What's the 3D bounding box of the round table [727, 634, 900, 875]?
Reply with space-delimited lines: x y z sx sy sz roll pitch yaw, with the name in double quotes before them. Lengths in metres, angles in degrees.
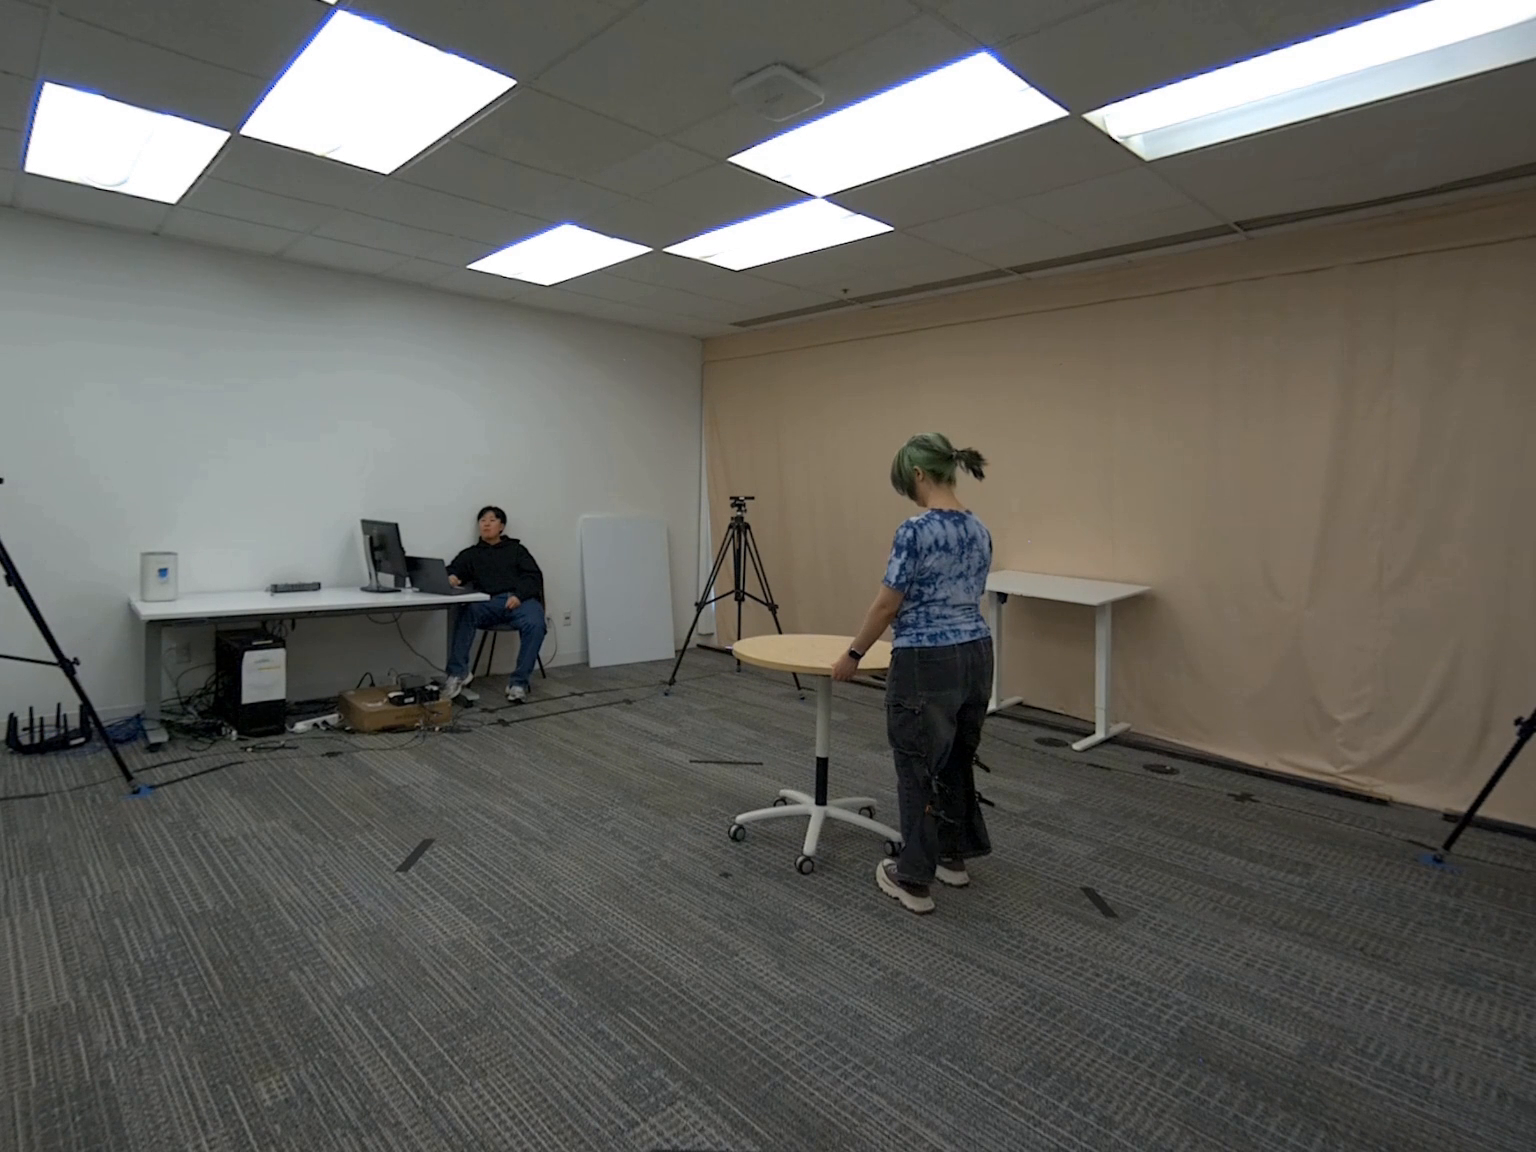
"round table" 0.210 0.692 3.450 0.763 0.792 0.766 2 4 -1
